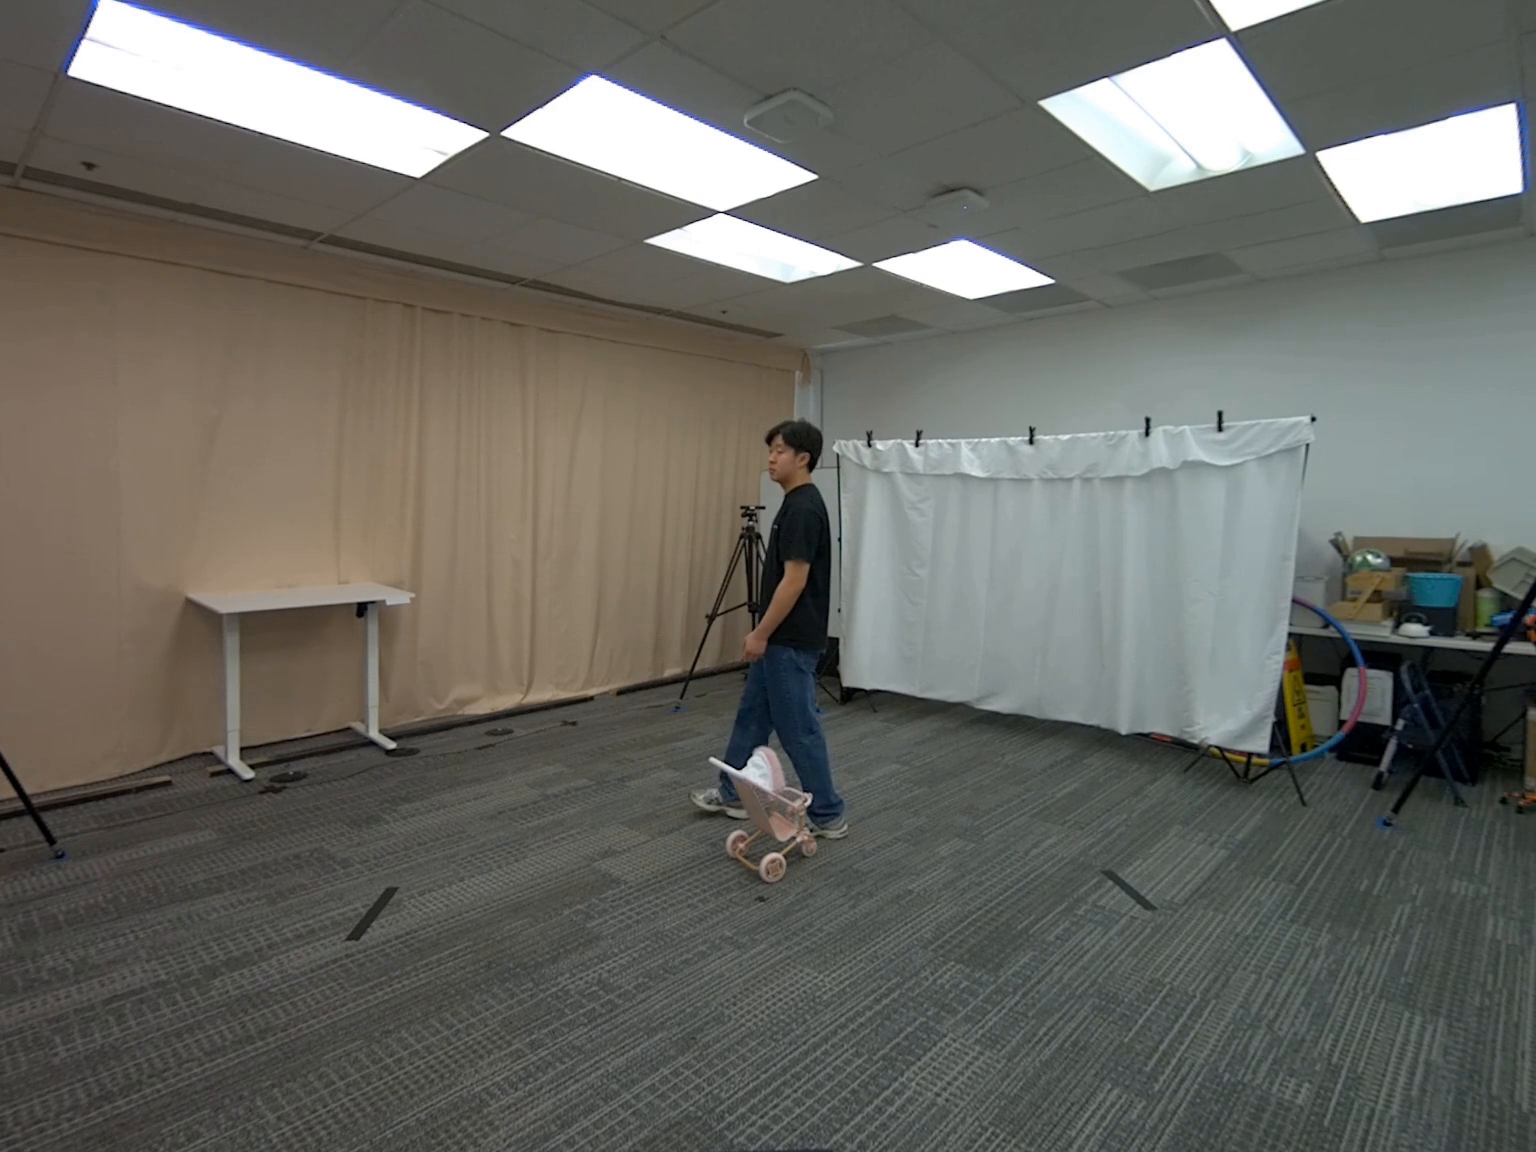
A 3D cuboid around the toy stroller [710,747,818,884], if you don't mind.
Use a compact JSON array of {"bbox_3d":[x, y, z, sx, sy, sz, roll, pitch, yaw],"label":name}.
[{"bbox_3d":[0.006,0.890,3.240,0.335,0.530,0.289,-18,11,-26],"label":"toy stroller"}]
